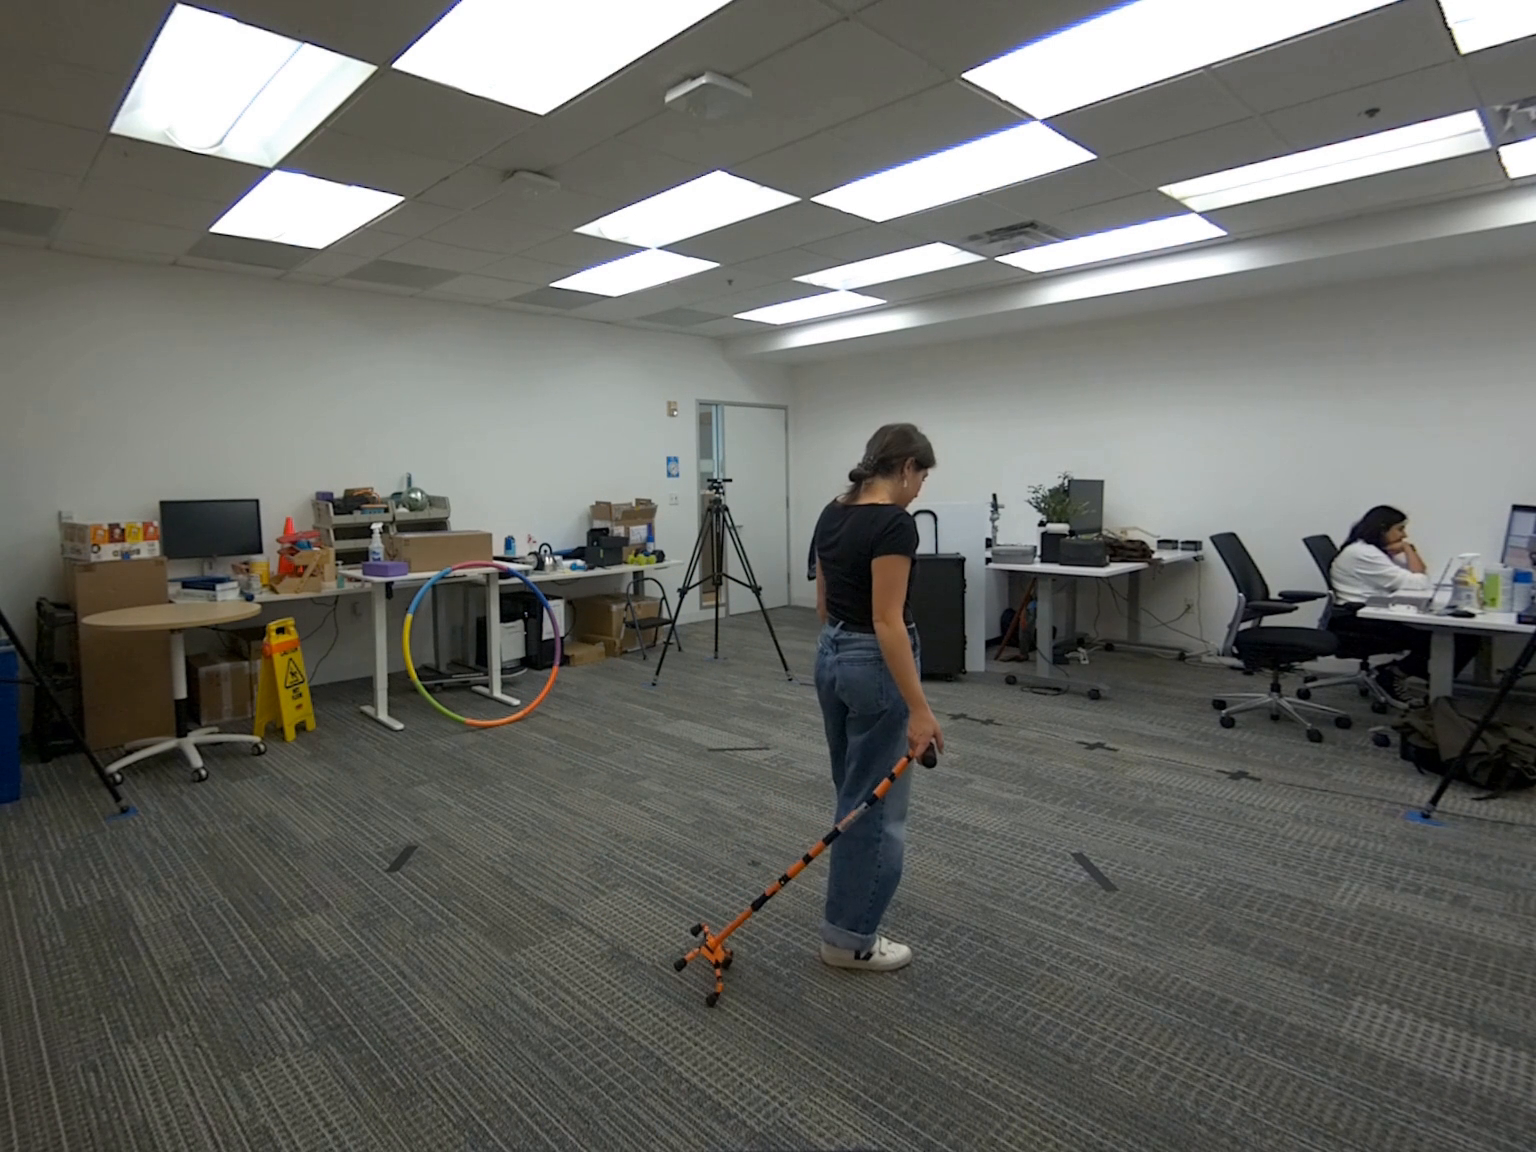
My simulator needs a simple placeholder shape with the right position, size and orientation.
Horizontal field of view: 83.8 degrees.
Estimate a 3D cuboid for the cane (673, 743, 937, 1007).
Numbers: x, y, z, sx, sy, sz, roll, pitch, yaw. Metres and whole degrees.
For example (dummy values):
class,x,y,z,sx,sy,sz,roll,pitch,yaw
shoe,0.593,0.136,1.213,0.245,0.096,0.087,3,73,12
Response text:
class,x,y,z,sx,sy,sz,roll,pitch,yaw
cane,0.121,0.769,2.273,0.908,0.153,0.205,-46,-4,14
